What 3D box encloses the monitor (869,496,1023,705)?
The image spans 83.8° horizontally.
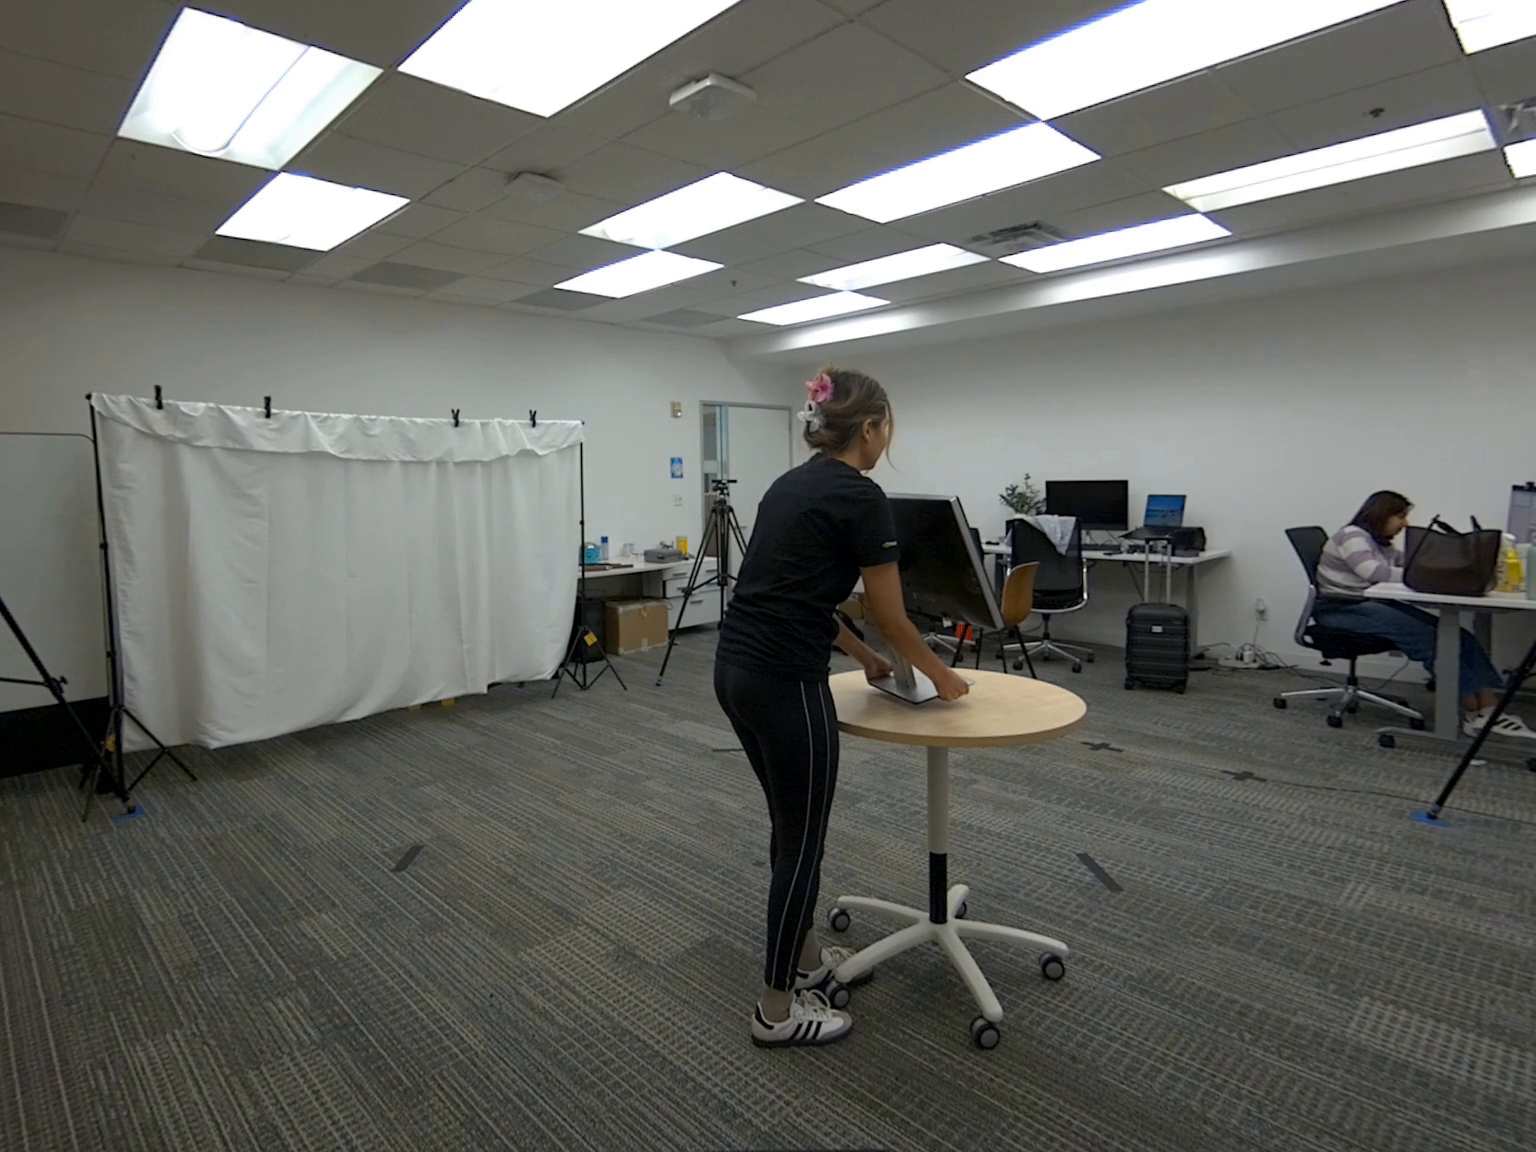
[{"bbox_3d":[0.374,0.043,2.331,0.184,0.518,0.553,-14,10,-24],"label":"monitor"}]
